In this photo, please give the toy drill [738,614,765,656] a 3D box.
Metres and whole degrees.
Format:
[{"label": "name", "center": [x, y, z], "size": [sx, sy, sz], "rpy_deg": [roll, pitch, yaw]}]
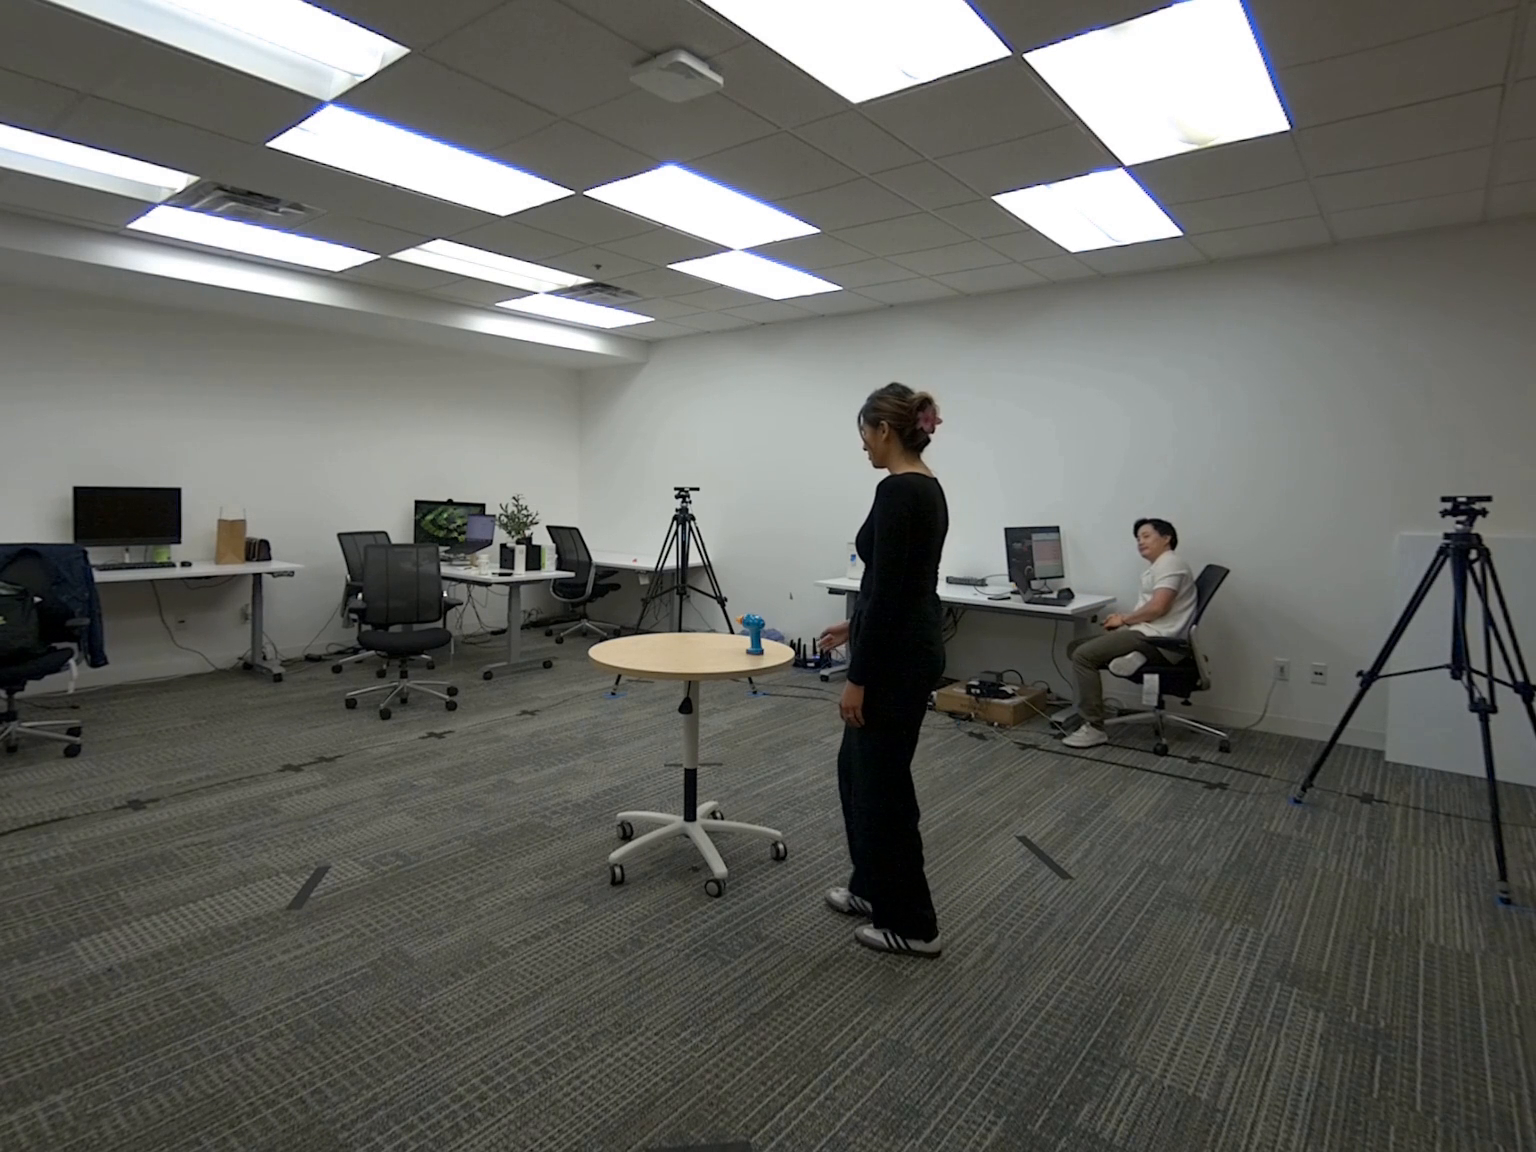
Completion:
[{"label": "toy drill", "center": [-0.083, 0.206, 3.144], "size": [0.059, 0.145, 0.175], "rpy_deg": [-2, 5, -36]}]
